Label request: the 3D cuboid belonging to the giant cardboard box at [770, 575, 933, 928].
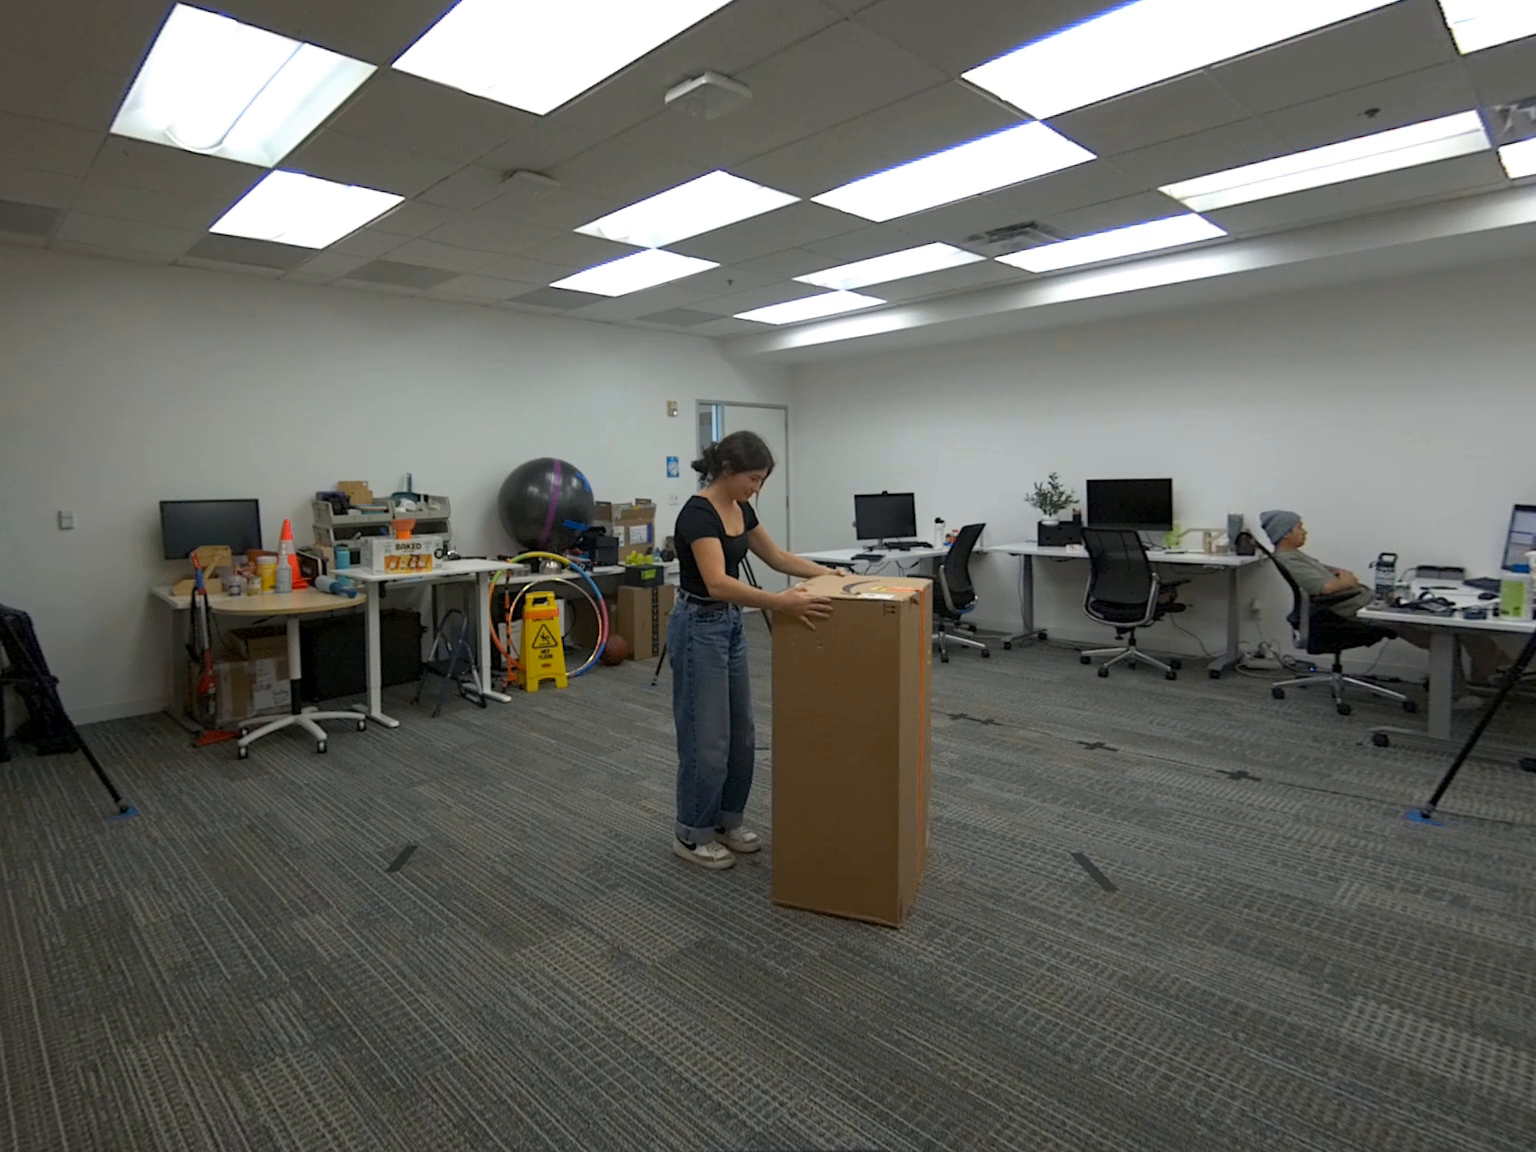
[{"bbox_3d":[0.306,0.547,2.940,0.435,1.022,0.568,1,5,22],"label":"giant cardboard box"}]
